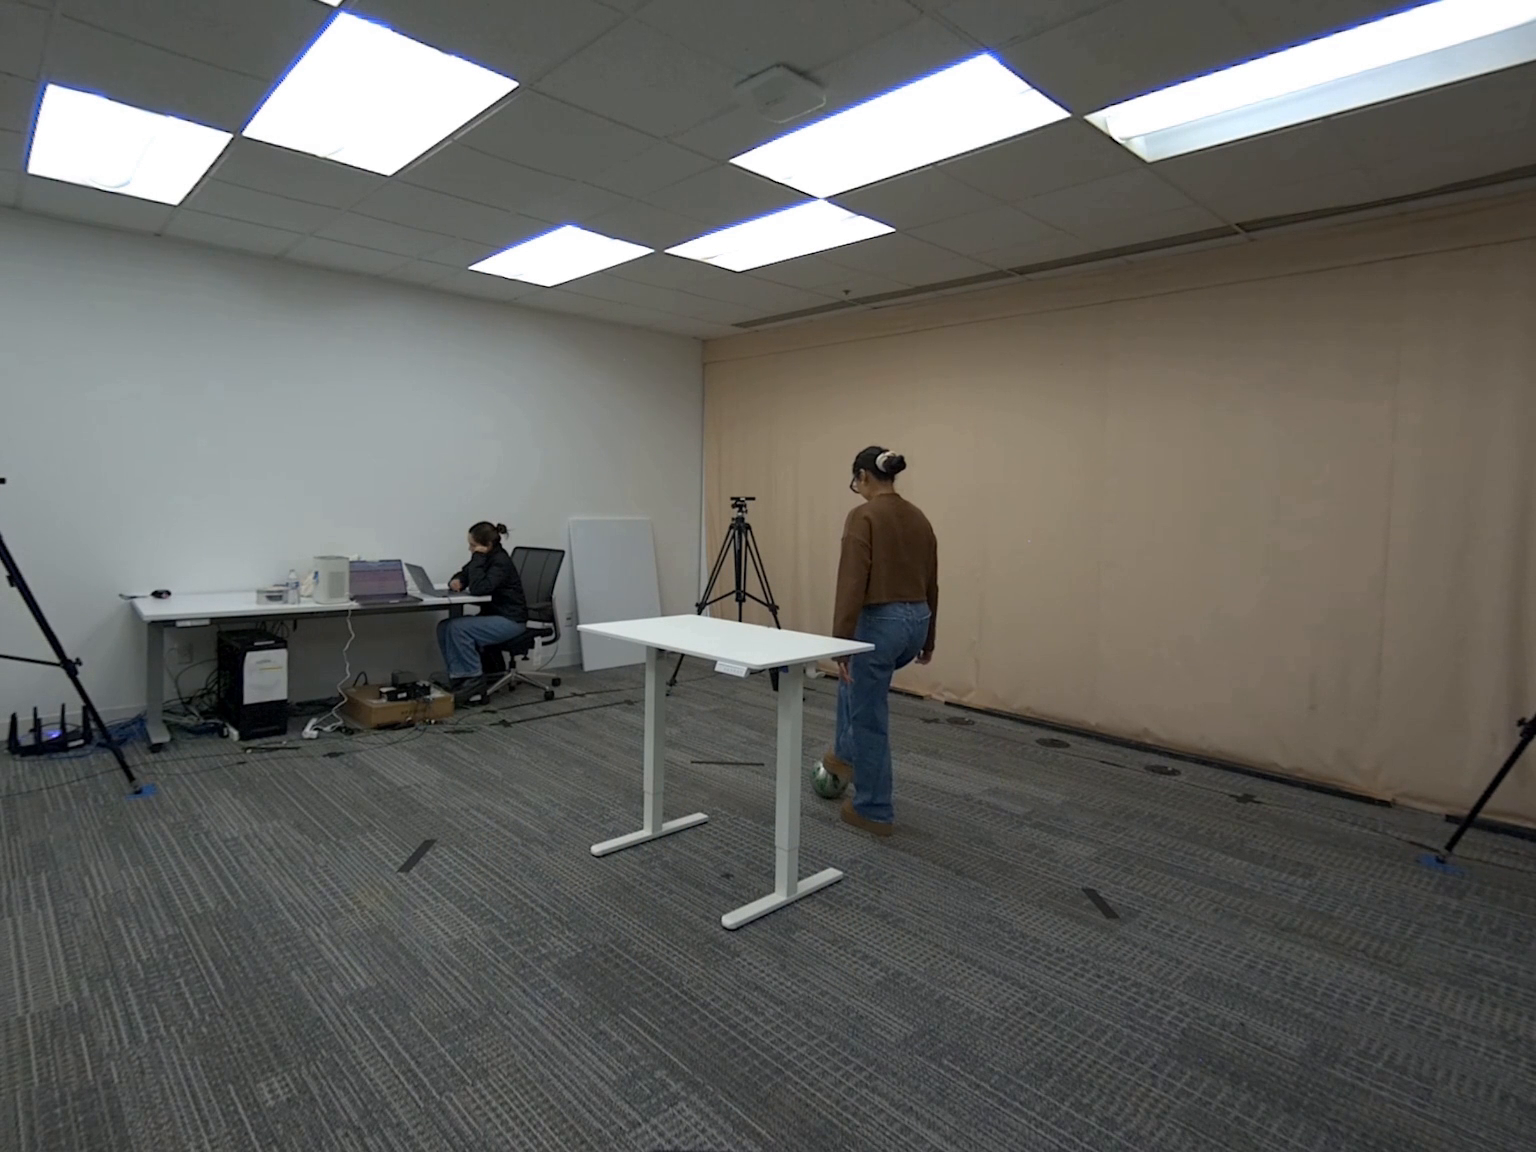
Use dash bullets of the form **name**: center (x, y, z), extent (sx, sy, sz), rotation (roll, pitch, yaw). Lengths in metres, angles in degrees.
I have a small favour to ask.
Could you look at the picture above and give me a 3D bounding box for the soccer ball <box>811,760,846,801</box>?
- **soccer ball**: center (0.279, 0.951, 3.981), extent (0.187, 0.187, 0.188), rotation (1, 4, -1)
